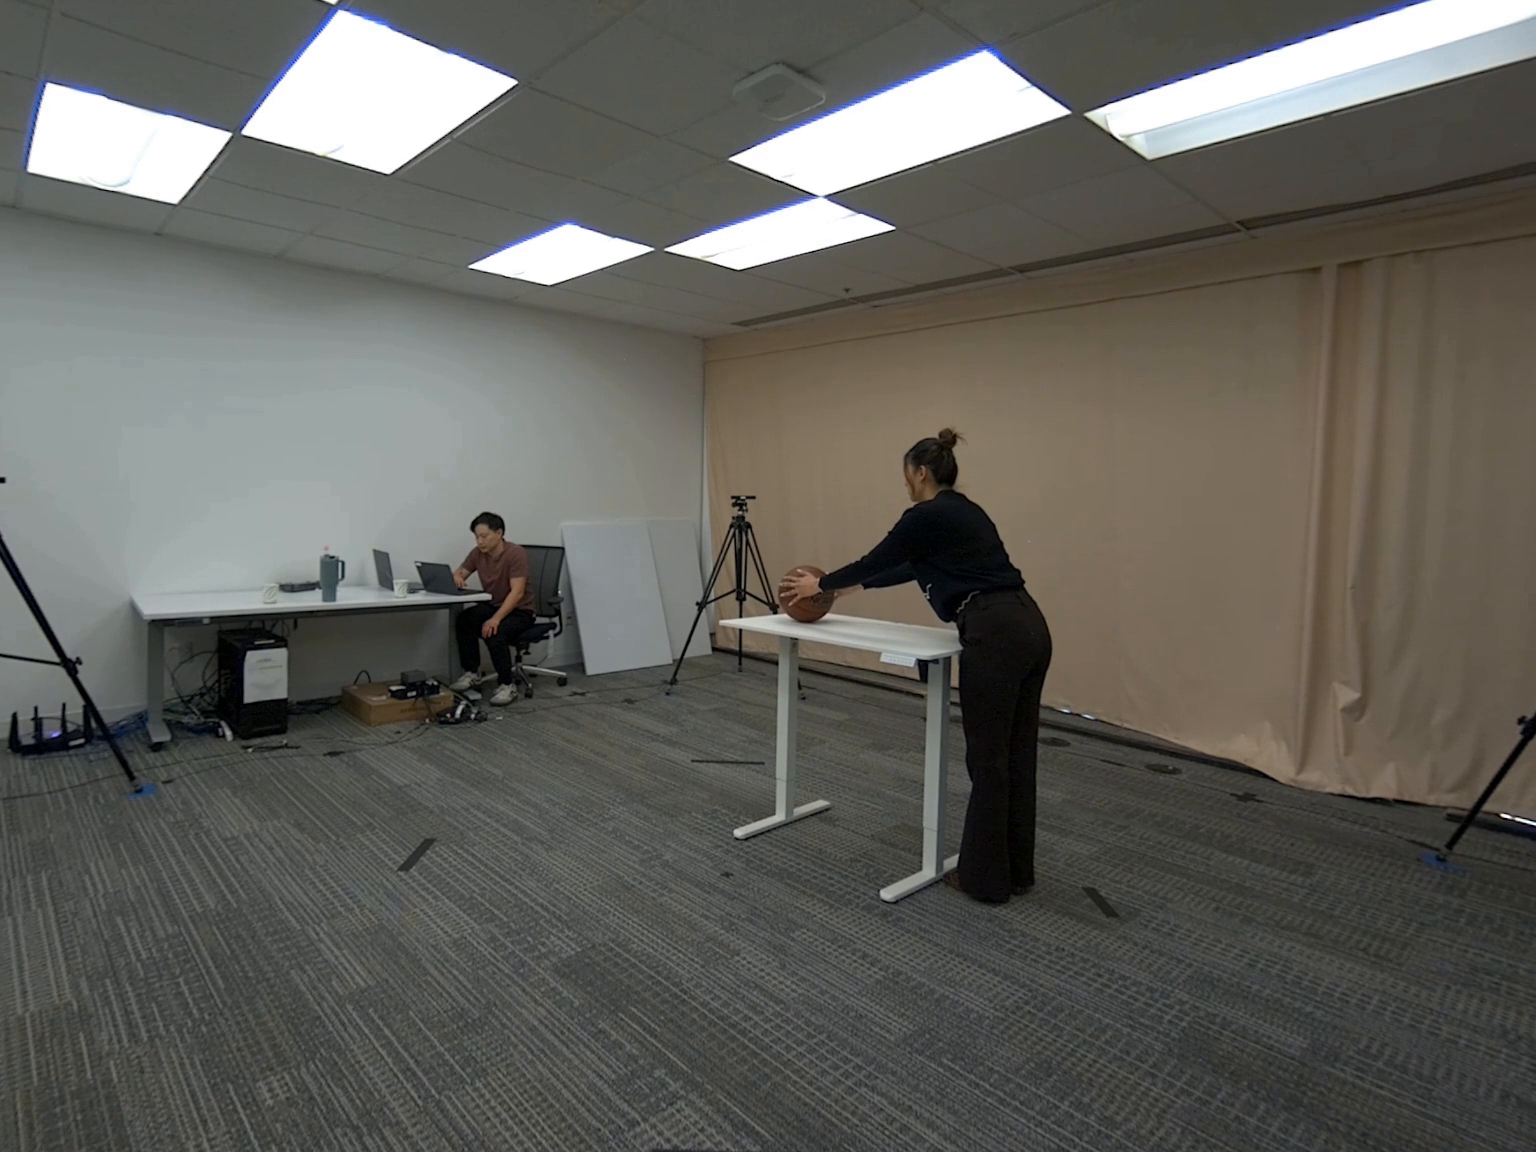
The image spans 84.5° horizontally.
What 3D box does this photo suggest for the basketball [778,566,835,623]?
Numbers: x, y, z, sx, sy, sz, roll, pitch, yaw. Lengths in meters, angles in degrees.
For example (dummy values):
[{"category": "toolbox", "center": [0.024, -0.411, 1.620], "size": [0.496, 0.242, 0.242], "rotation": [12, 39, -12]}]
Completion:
[{"category": "basketball", "center": [0.159, 0.076, 3.518], "size": [0.236, 0.235, 0.237], "rotation": [1, 4, -1]}]
